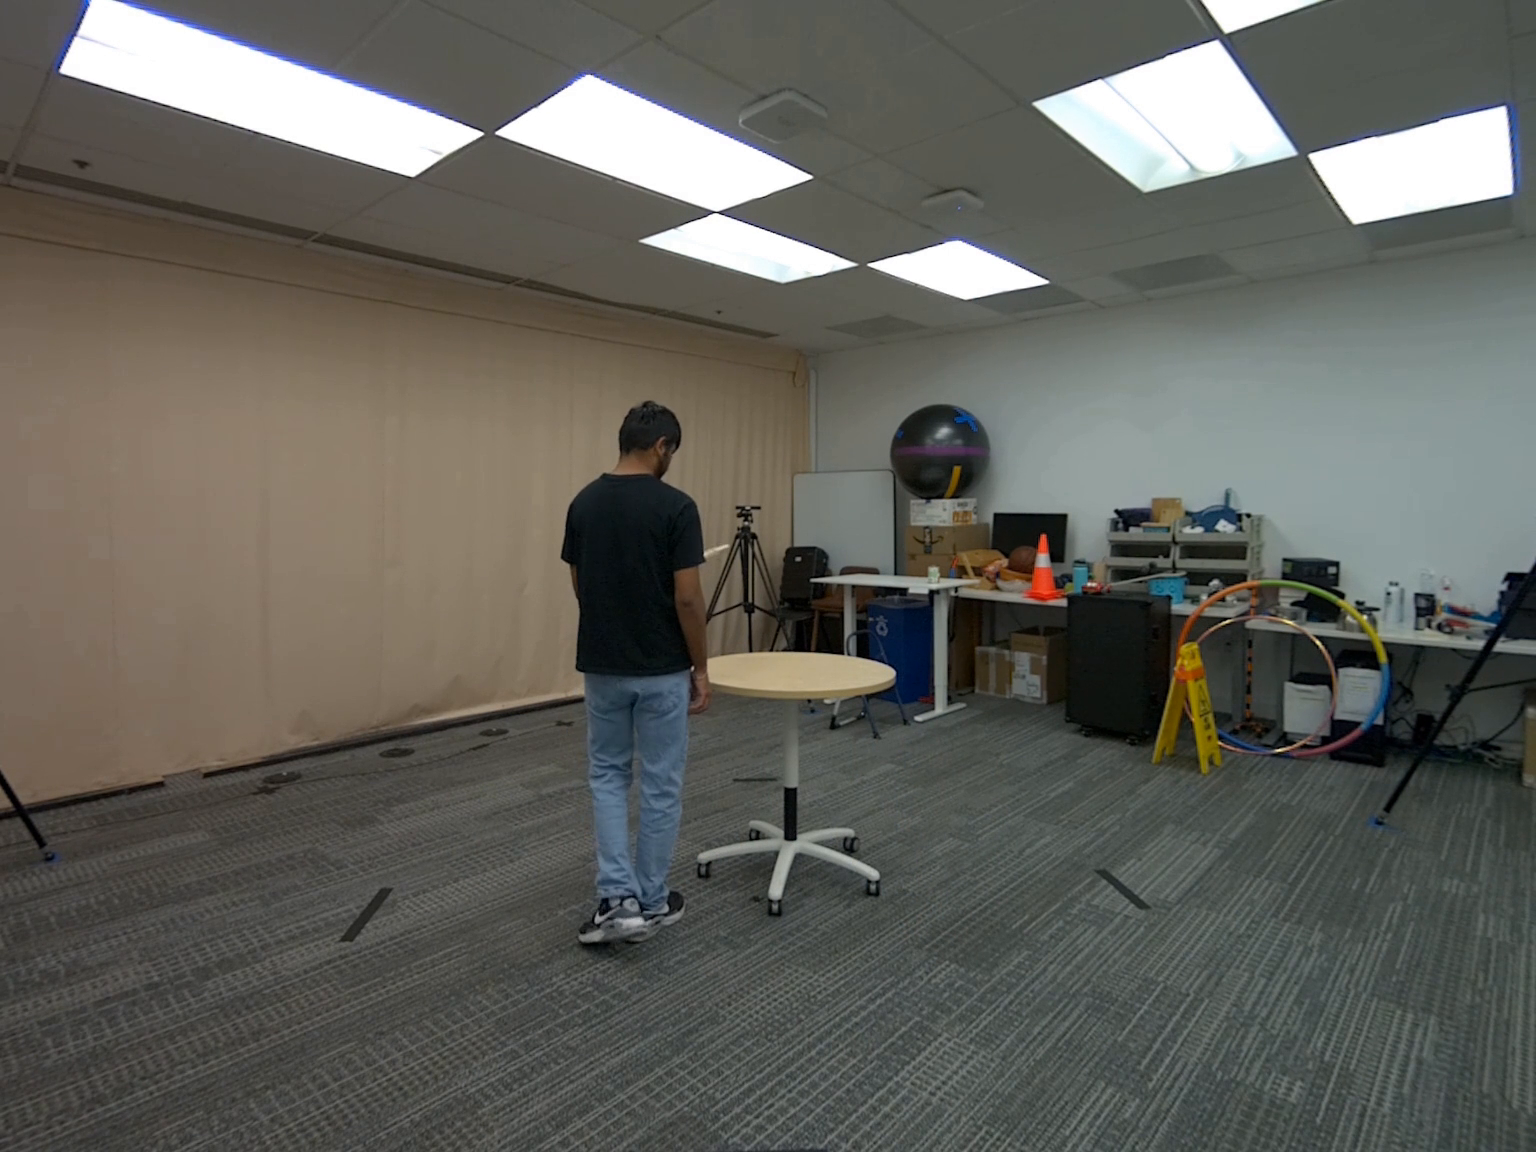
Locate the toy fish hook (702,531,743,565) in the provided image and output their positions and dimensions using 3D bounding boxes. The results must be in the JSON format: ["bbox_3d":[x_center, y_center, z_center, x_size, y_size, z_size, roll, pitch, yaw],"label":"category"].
[{"bbox_3d":[-0.285,-0.054,3.118,0.228,0.048,0.500,-28,2,22],"label":"toy fish hook"}]
